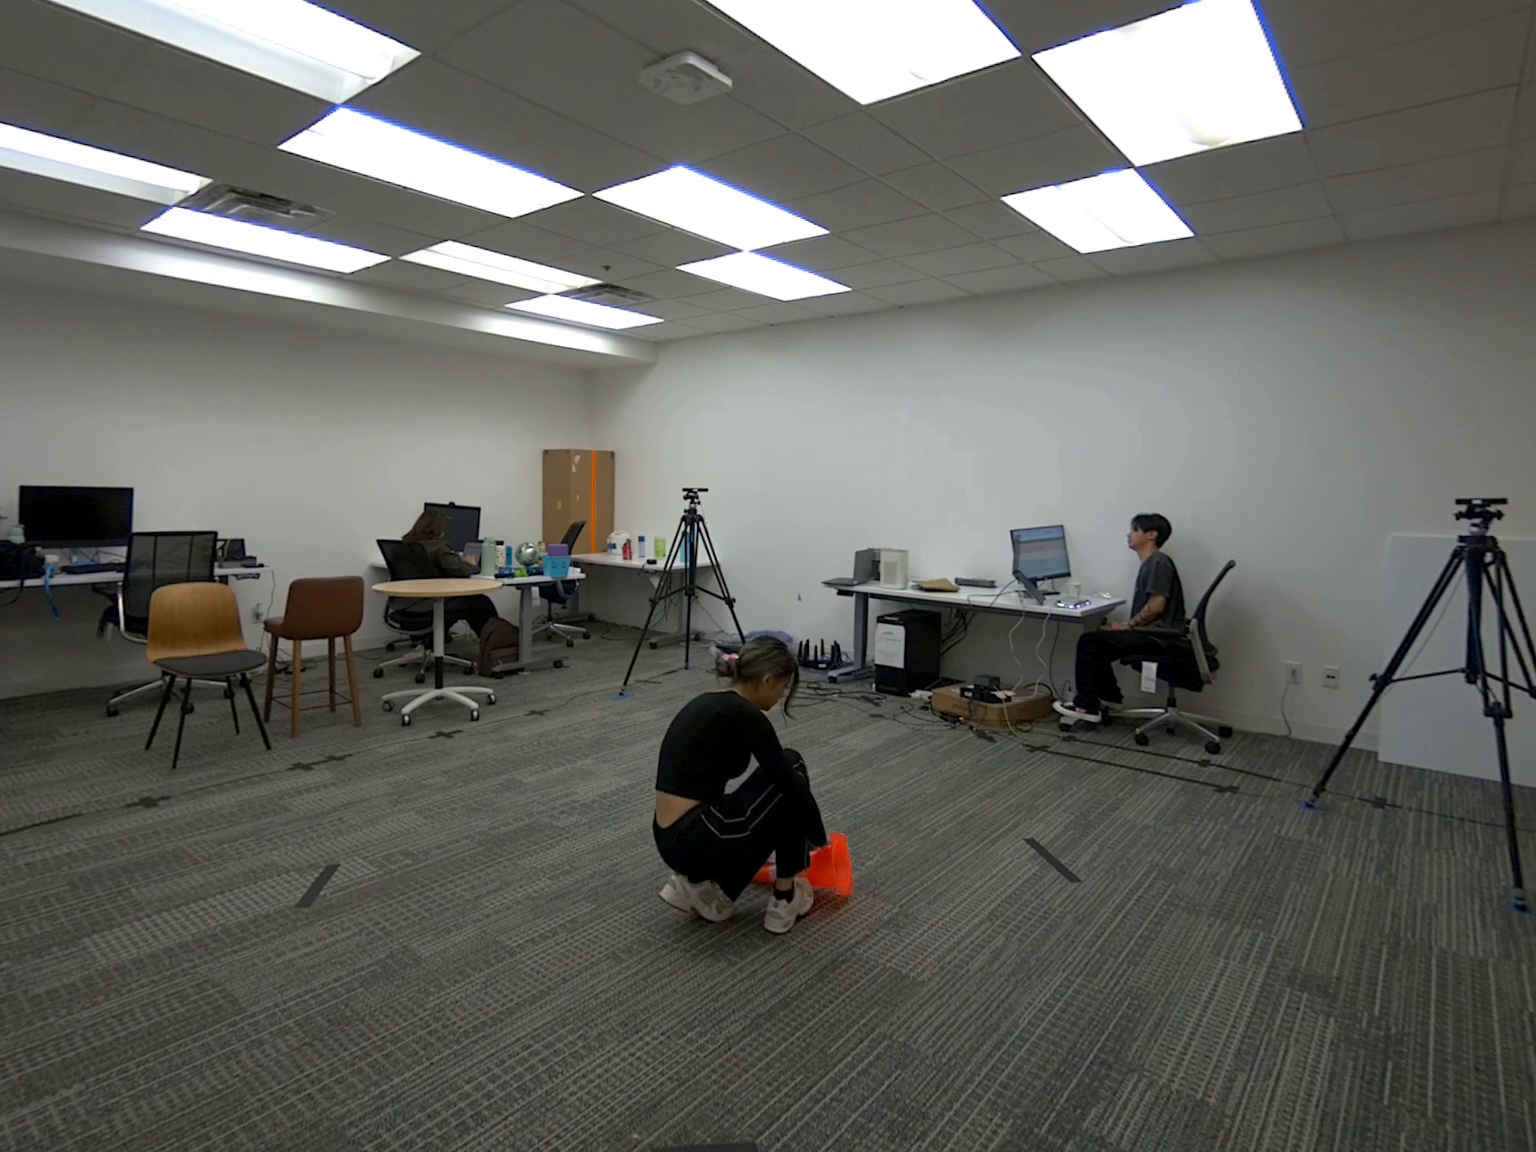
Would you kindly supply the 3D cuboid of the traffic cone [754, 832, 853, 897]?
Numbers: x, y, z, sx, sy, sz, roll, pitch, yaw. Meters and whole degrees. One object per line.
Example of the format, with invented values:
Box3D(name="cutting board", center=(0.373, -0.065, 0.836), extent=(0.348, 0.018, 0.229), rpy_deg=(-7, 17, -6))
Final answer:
Box3D(name="traffic cone", center=(0.073, 1.025, 2.974), extent=(0.390, 0.210, 0.195), rpy_deg=(-13, -29, 21))
